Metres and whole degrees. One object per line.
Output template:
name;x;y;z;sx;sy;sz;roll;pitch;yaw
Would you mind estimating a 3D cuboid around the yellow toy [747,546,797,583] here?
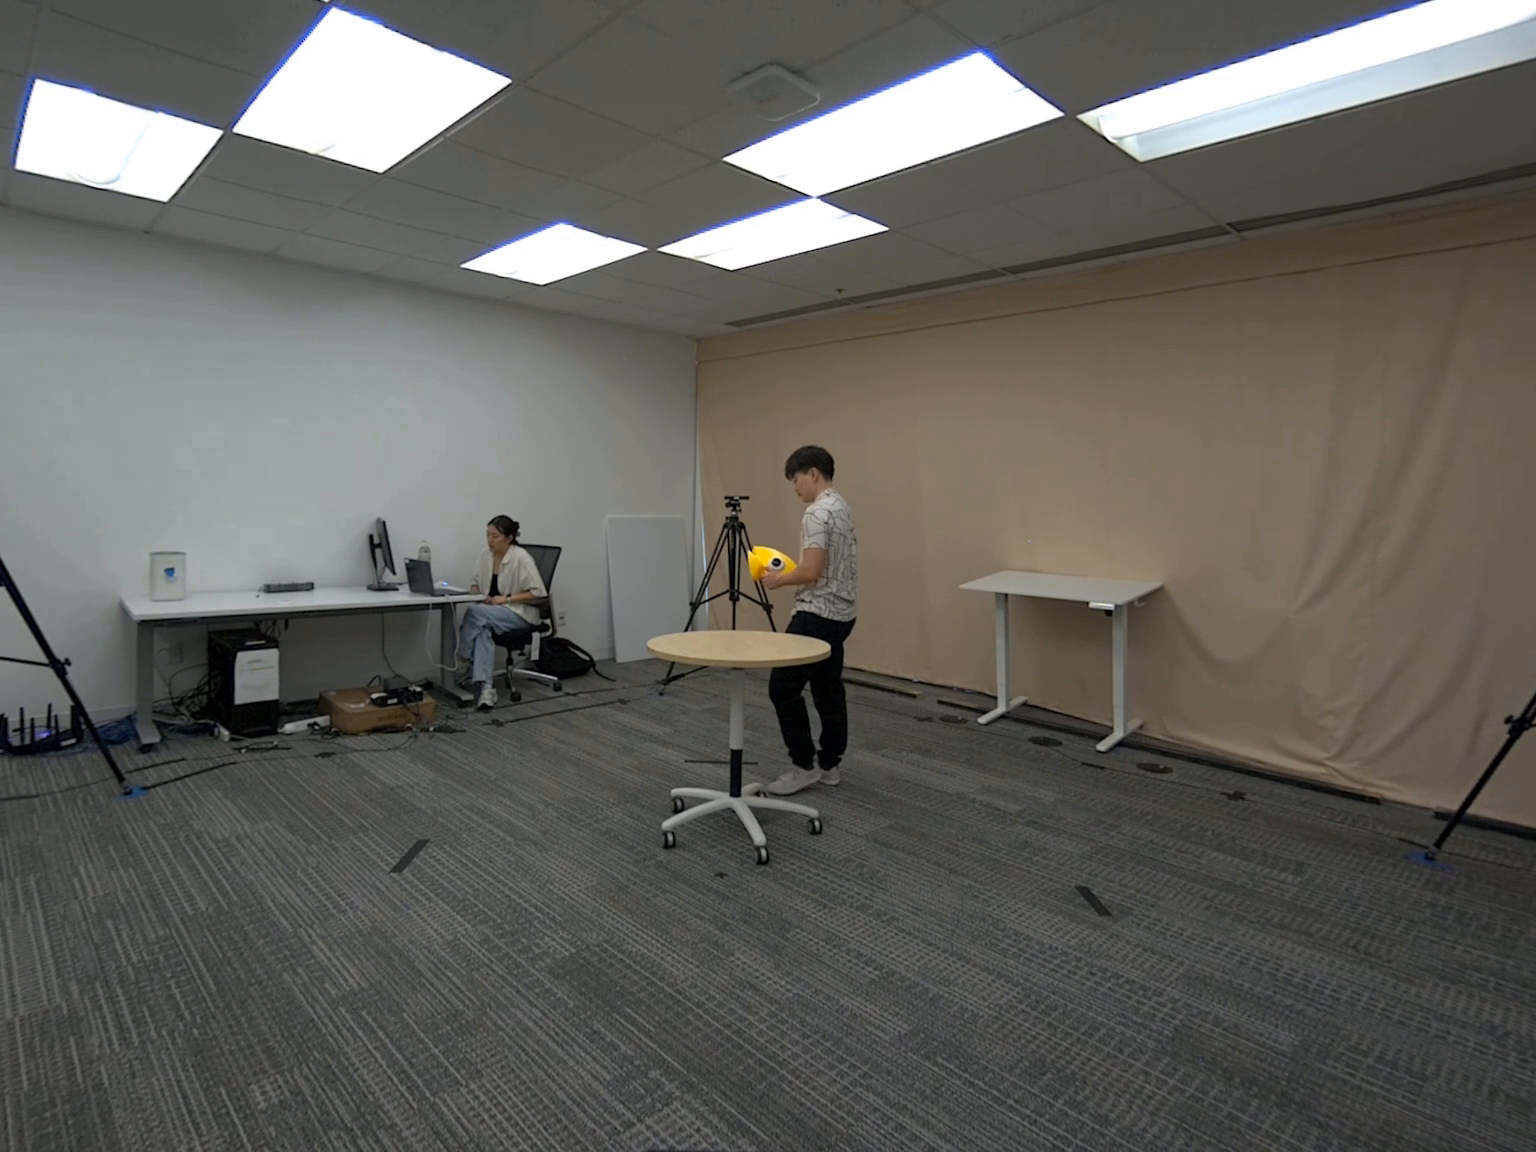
yellow toy;0.029;-0.066;4.176;0.233;0.191;0.204;-8;9;15
